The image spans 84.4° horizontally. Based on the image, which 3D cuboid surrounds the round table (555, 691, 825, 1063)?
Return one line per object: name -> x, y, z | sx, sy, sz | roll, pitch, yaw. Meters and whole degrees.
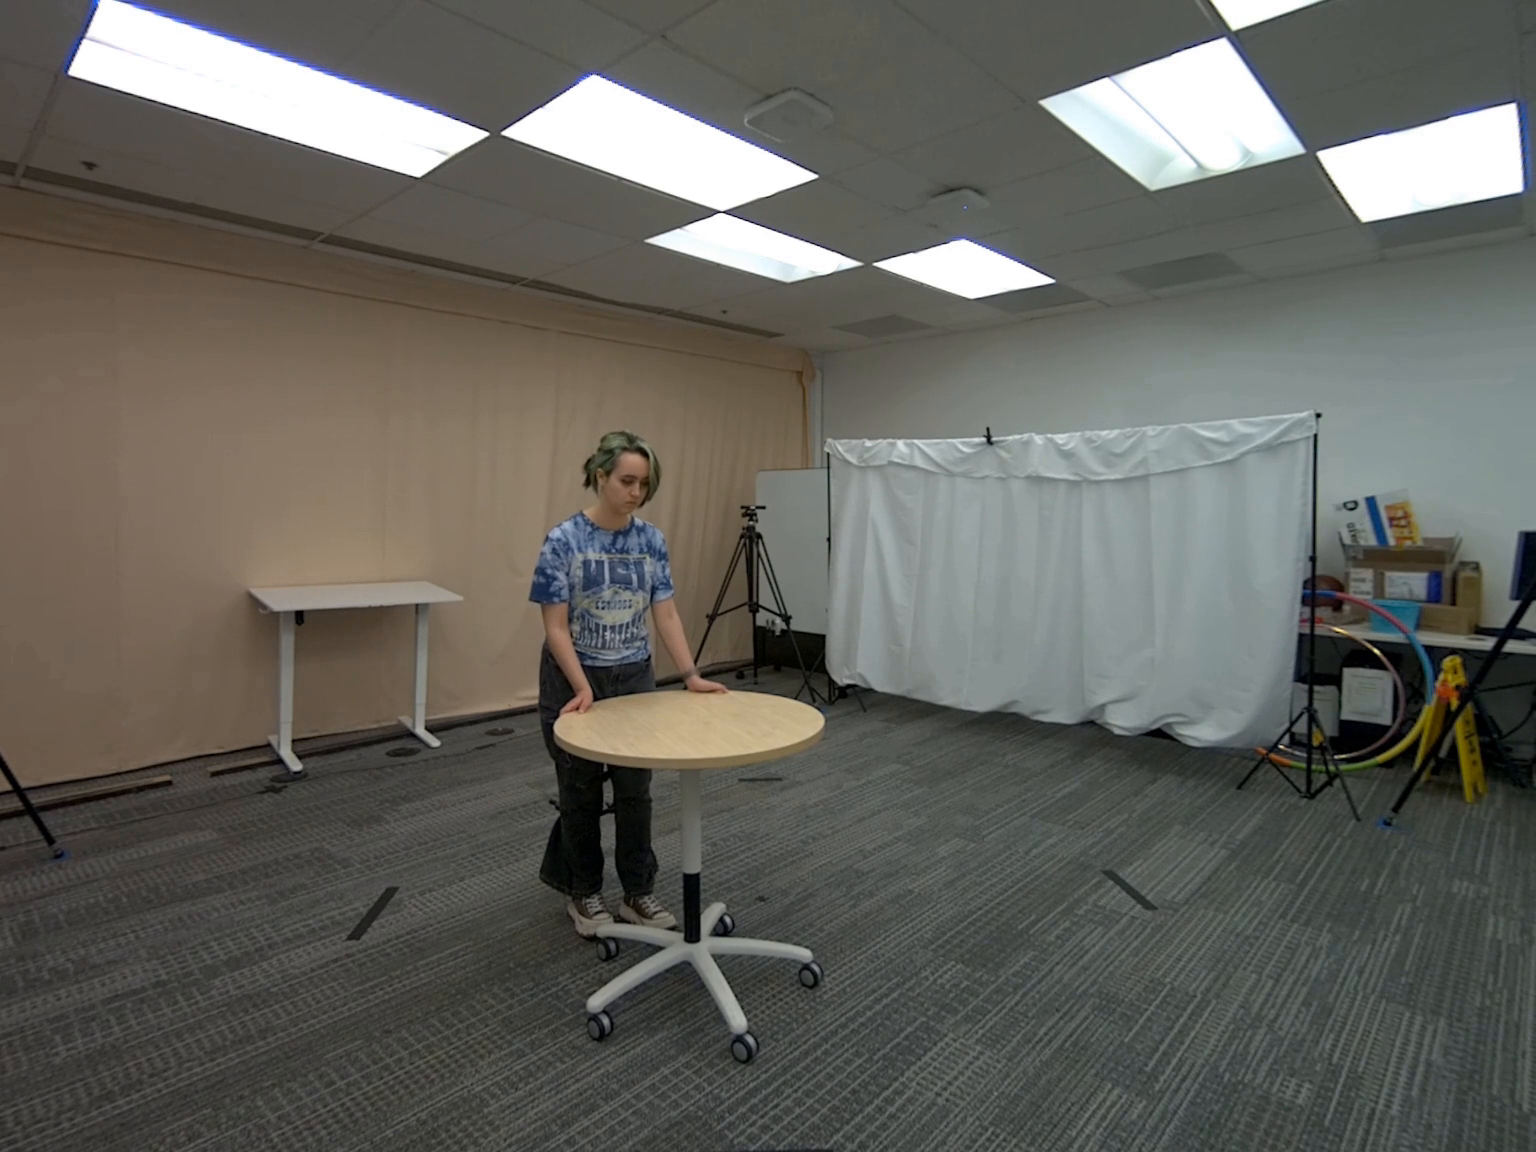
round table -> -0.213, 0.805, 2.412 | 0.763, 0.792, 0.766 | -1, 3, -2
